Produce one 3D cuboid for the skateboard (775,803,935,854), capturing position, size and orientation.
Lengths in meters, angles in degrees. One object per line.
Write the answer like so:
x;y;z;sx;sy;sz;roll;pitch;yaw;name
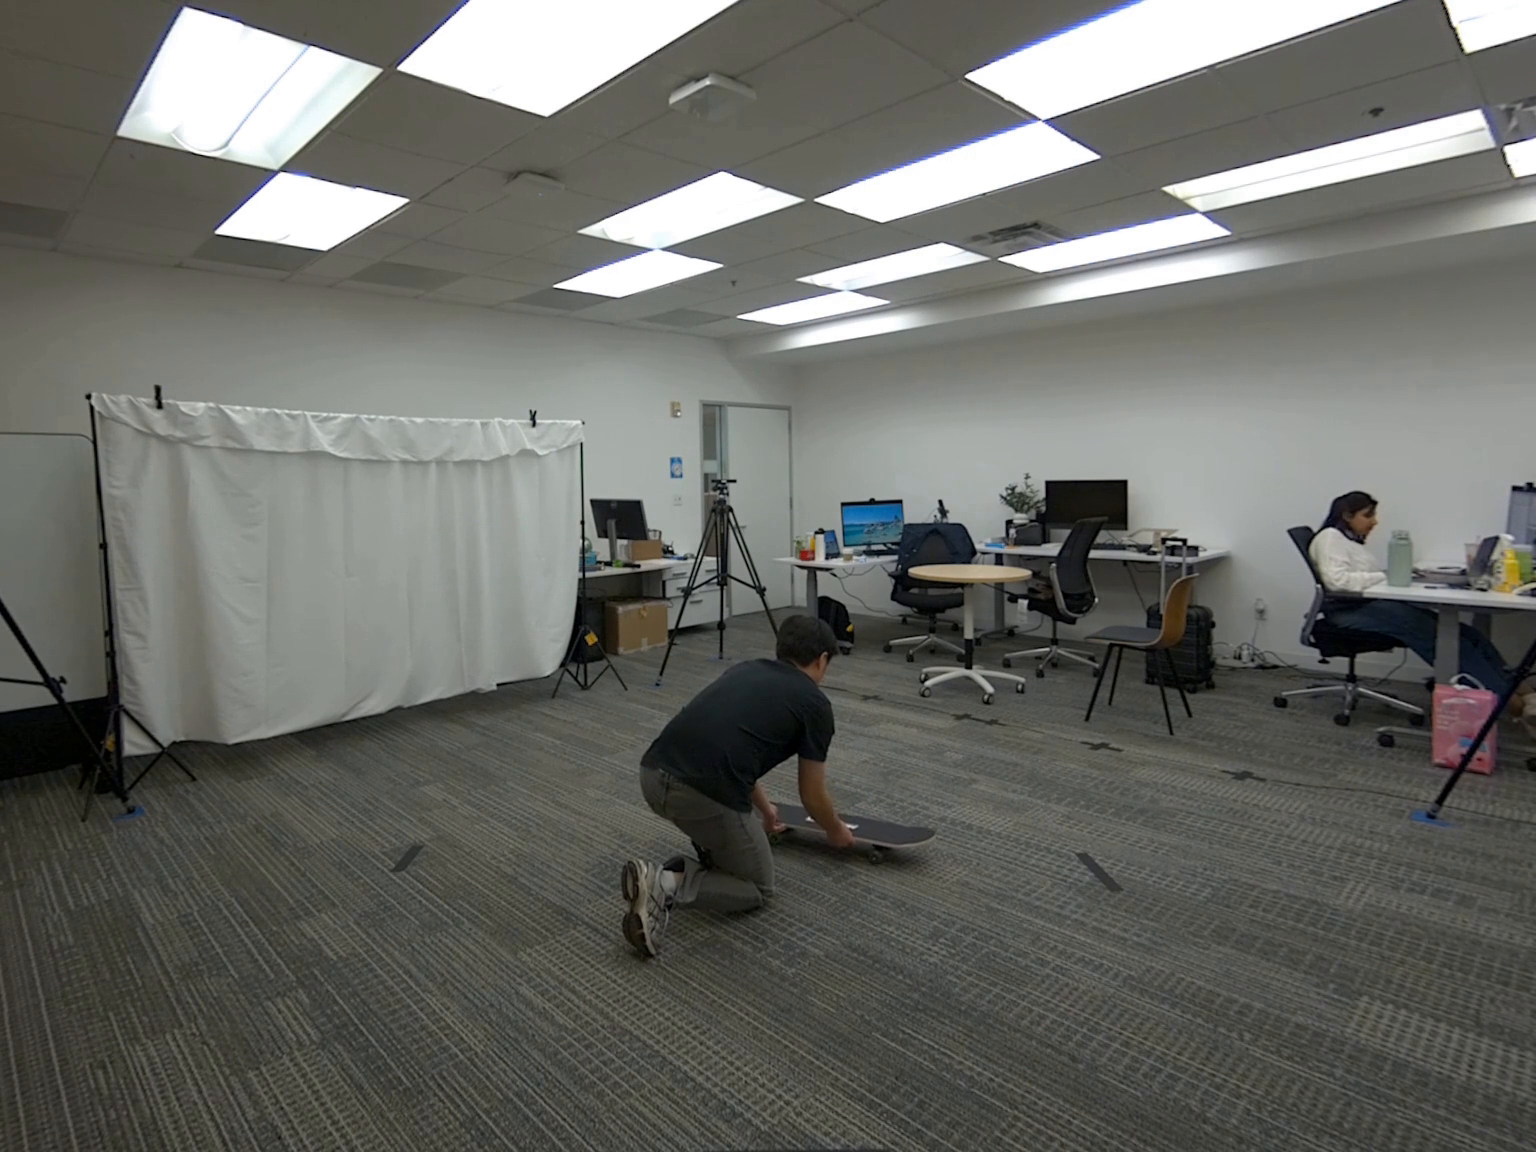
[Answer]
0.235;0.961;3.249;0.805;0.110;0.189;2;6;27;skateboard
